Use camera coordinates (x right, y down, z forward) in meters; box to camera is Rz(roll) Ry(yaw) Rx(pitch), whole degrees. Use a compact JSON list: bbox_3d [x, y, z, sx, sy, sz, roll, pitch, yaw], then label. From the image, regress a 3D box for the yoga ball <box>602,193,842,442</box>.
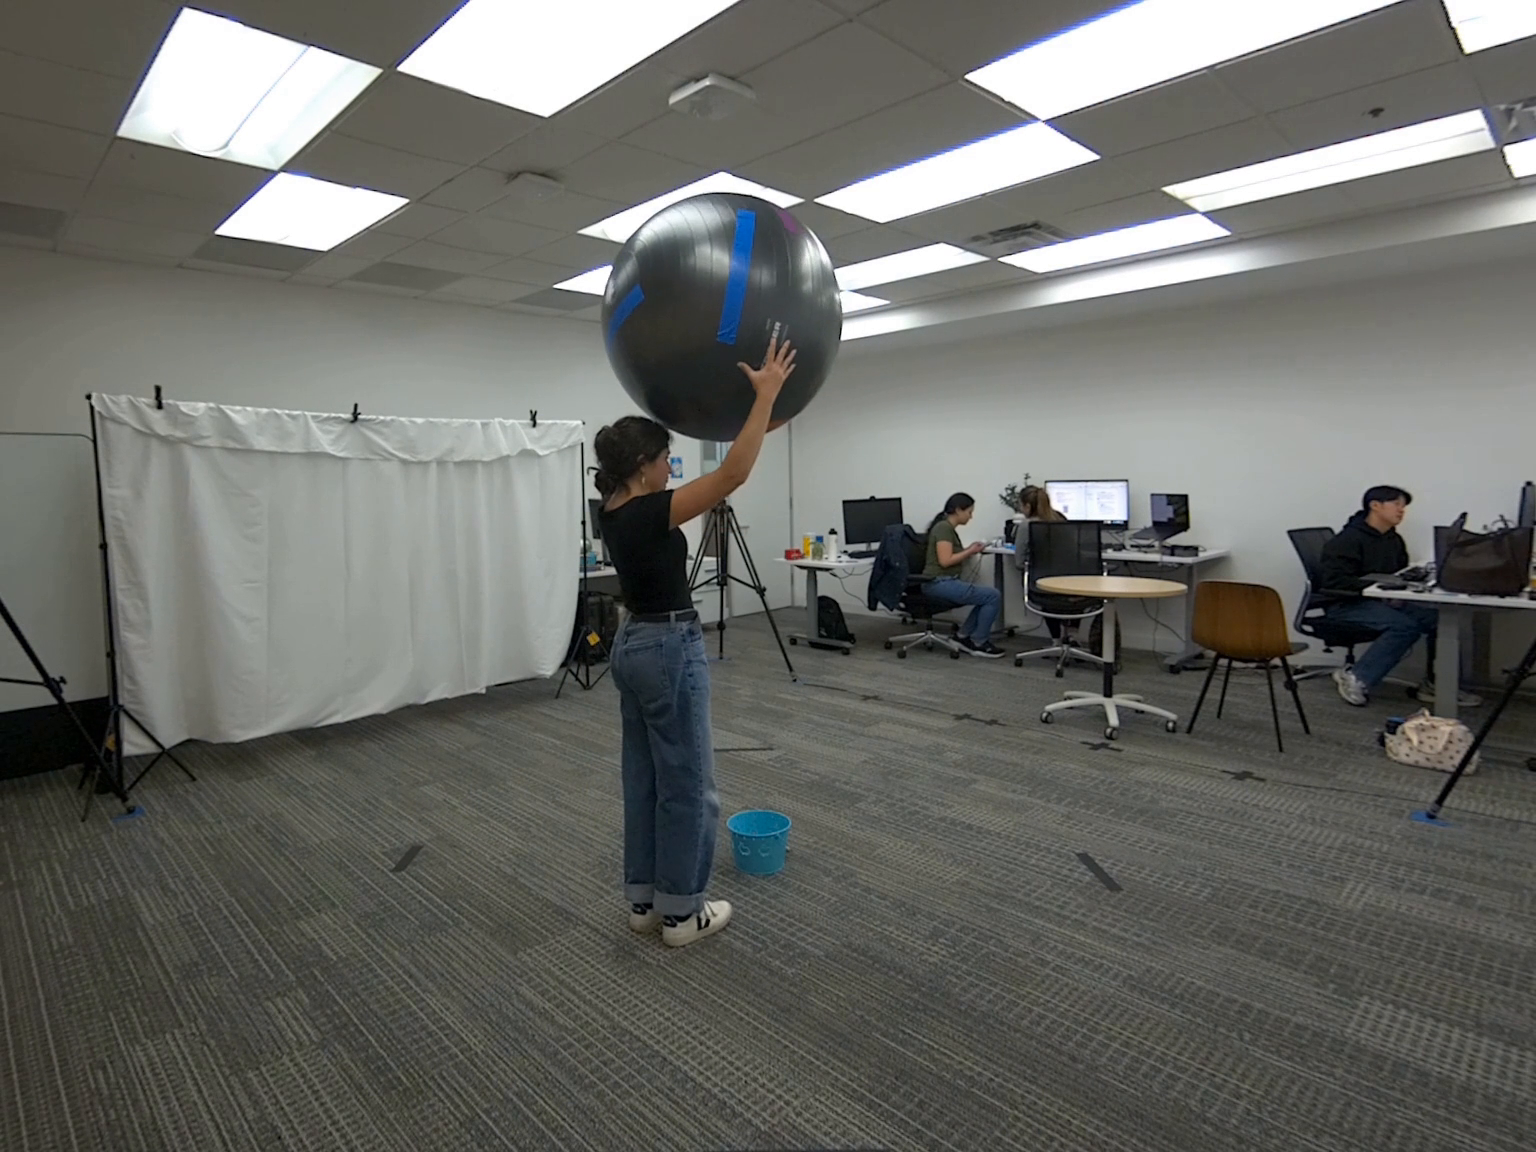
[{"bbox_3d":[-0.135,-0.797,2.694,0.757,0.755,0.762,-1,5,-2],"label":"yoga ball"}]
